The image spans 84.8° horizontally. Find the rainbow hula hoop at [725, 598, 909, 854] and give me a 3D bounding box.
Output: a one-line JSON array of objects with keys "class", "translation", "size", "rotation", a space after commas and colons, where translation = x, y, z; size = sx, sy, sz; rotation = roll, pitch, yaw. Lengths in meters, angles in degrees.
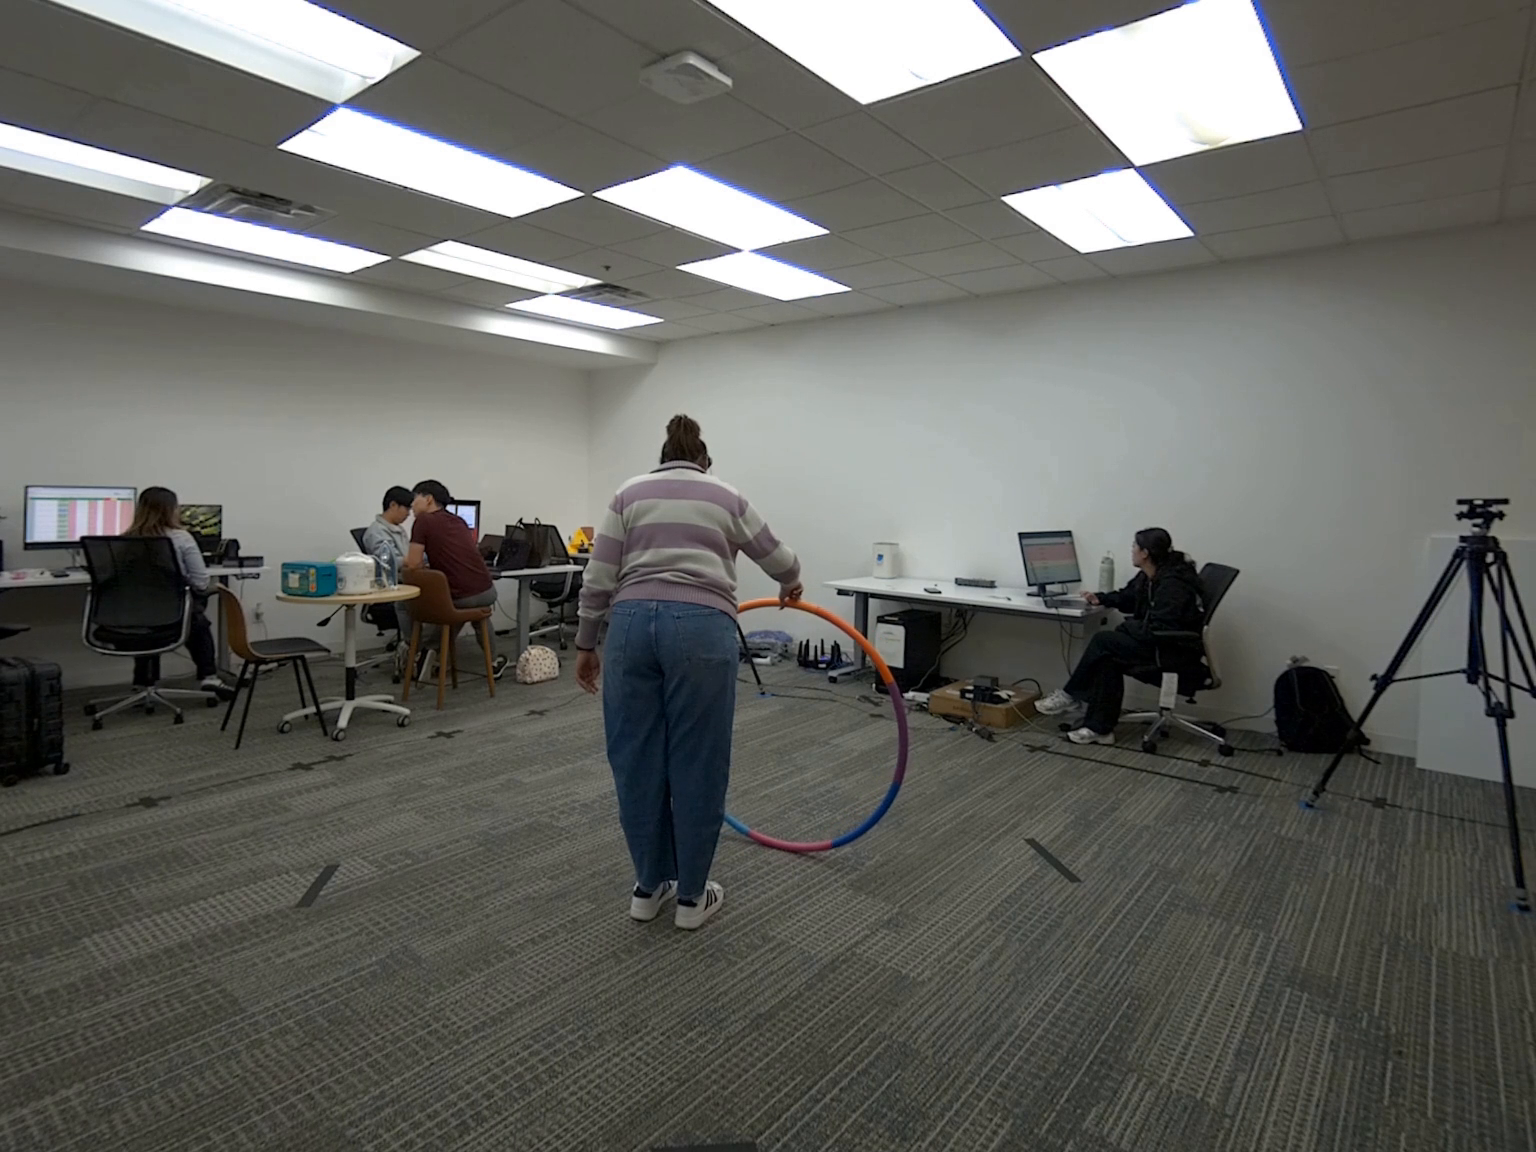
[{"class": "rainbow hula hoop", "translation": [0.048, 0.573, 3.258], "size": [1.006, 0.974, 0.035], "rotation": [3, 5, 29]}]
